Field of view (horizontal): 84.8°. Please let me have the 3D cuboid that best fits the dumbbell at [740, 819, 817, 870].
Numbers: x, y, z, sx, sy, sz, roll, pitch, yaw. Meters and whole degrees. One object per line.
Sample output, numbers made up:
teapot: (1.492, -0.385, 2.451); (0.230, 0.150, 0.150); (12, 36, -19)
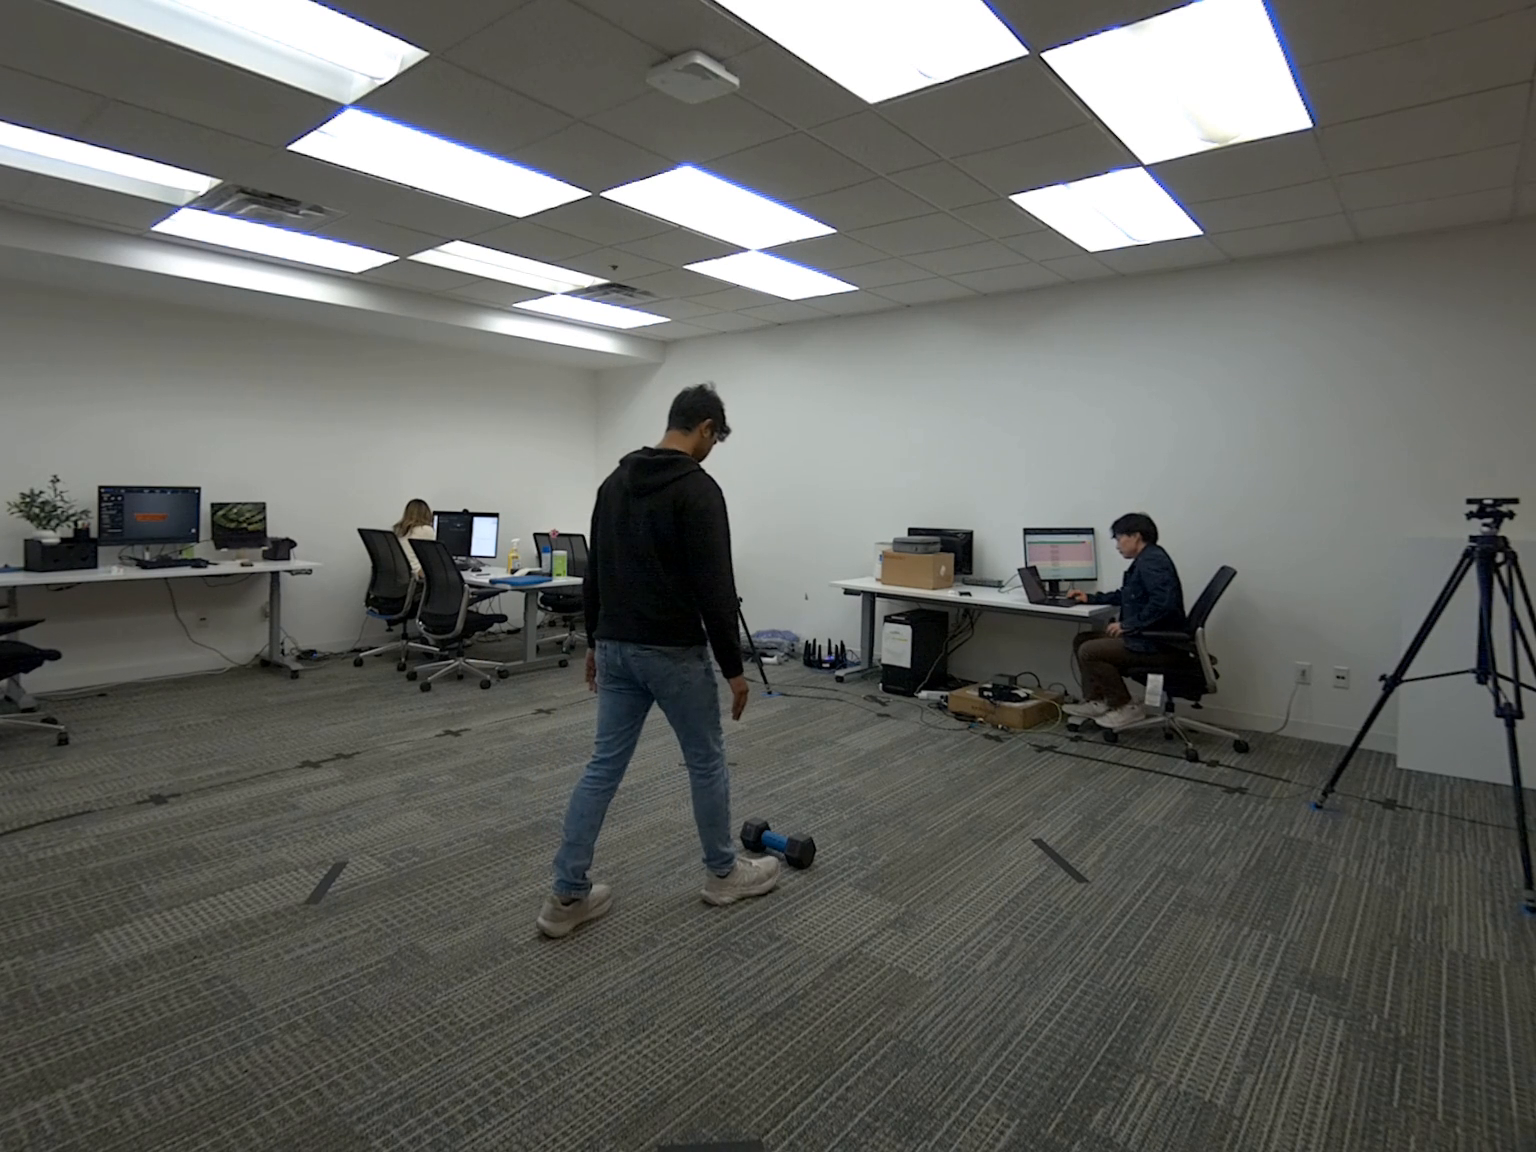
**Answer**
dumbbell: (0.027, 1.005, 3.222); (0.303, 0.119, 0.108); (5, 34, 39)
